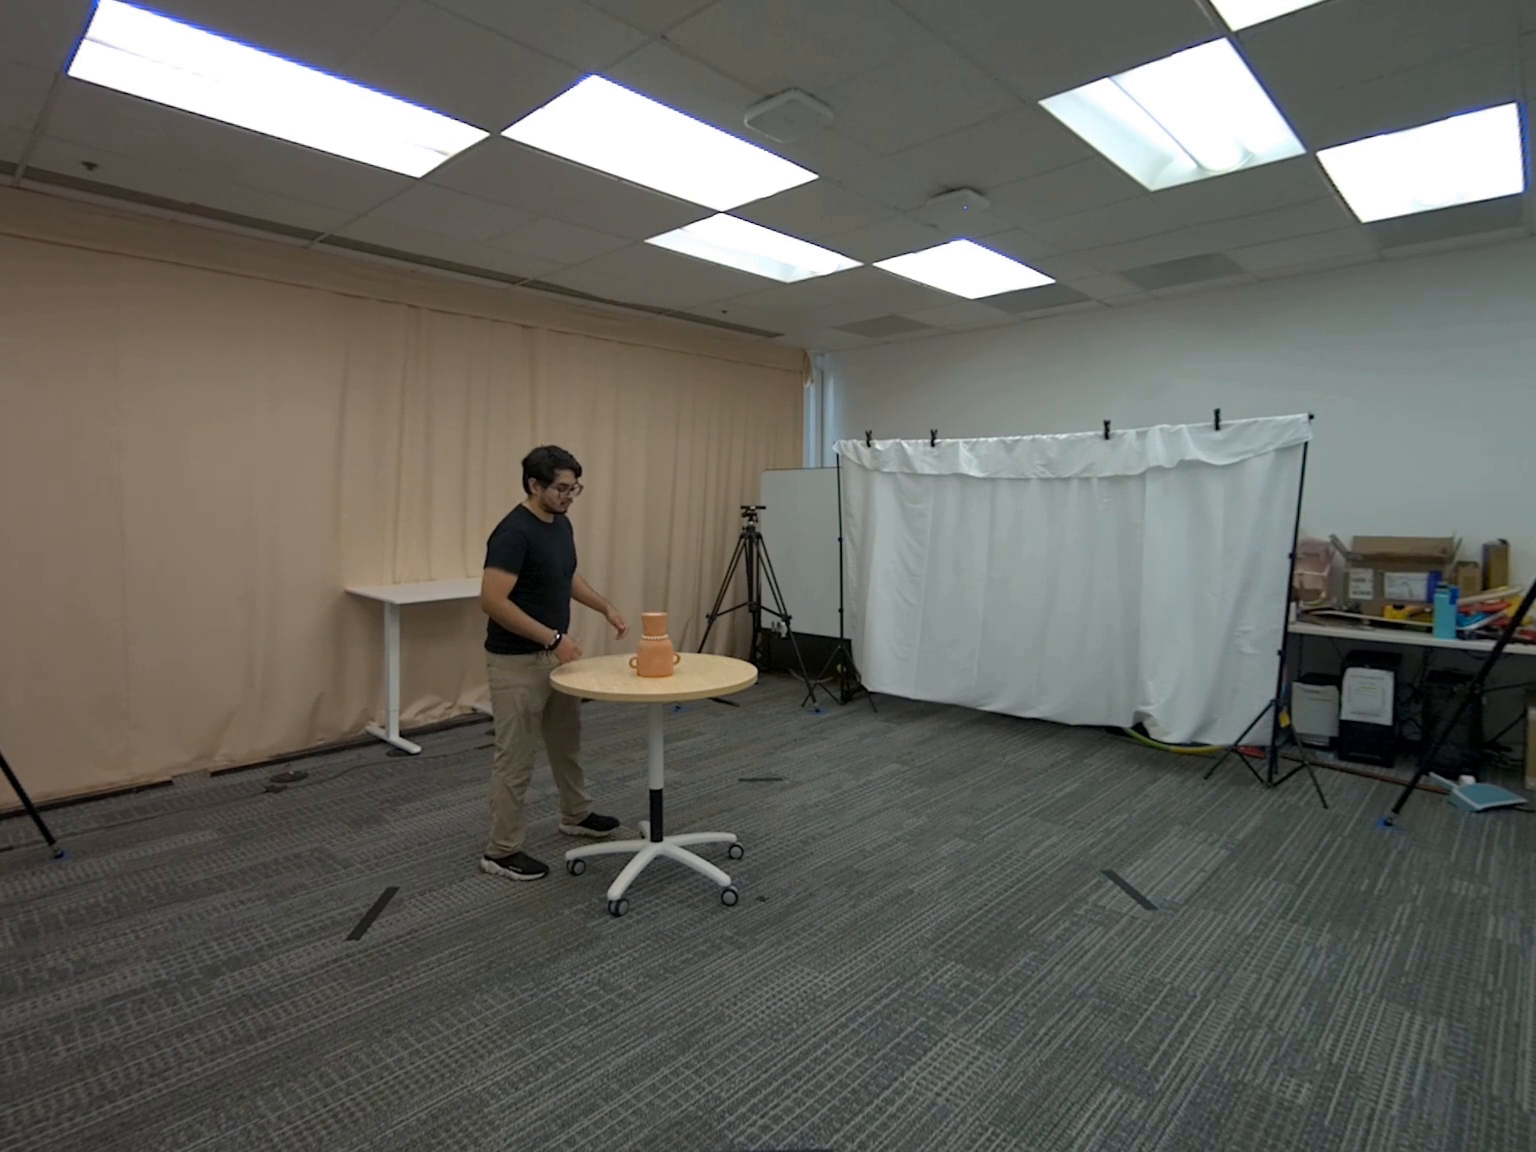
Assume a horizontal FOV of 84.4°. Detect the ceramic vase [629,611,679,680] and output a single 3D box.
[{"bbox_3d":[-0.418,0.250,3.059,0.138,0.219,0.155,1,3,26],"label":"ceramic vase"}]
